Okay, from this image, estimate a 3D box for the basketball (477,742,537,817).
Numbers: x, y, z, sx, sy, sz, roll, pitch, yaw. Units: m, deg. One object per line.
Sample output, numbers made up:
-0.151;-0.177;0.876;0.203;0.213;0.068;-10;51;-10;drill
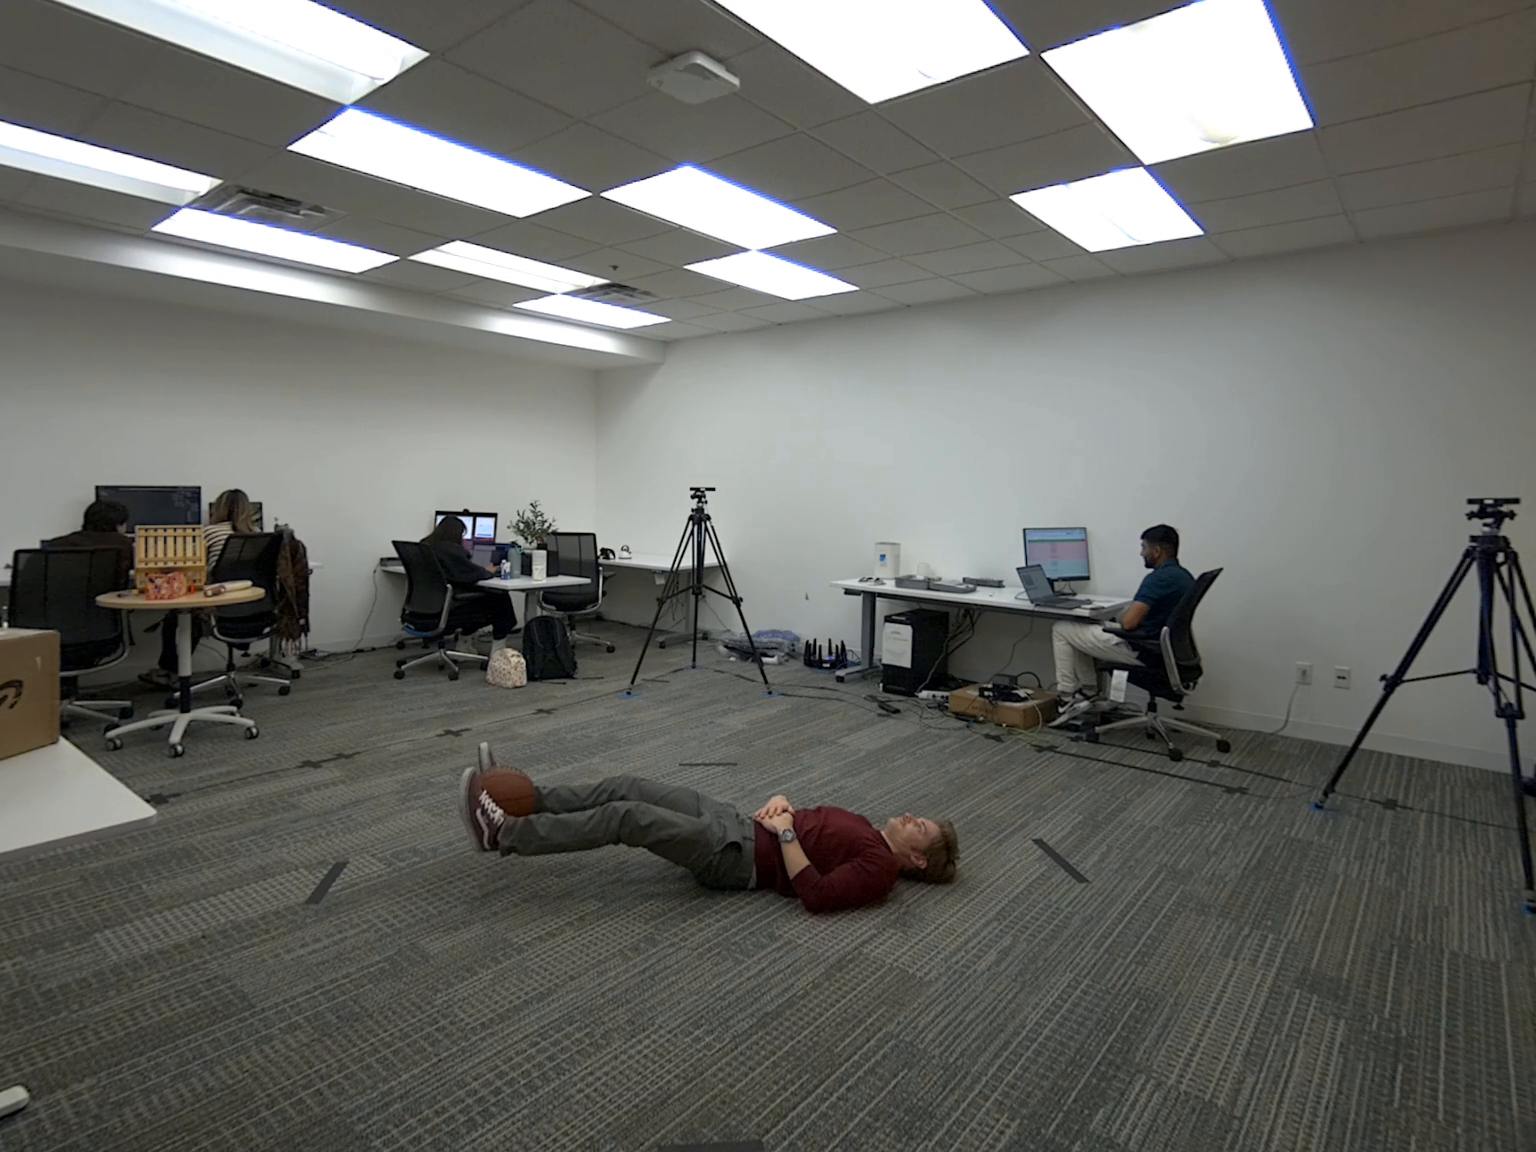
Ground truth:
-0.947;0.777;3.005;0.236;0.235;0.237;-3;3;-2;basketball
